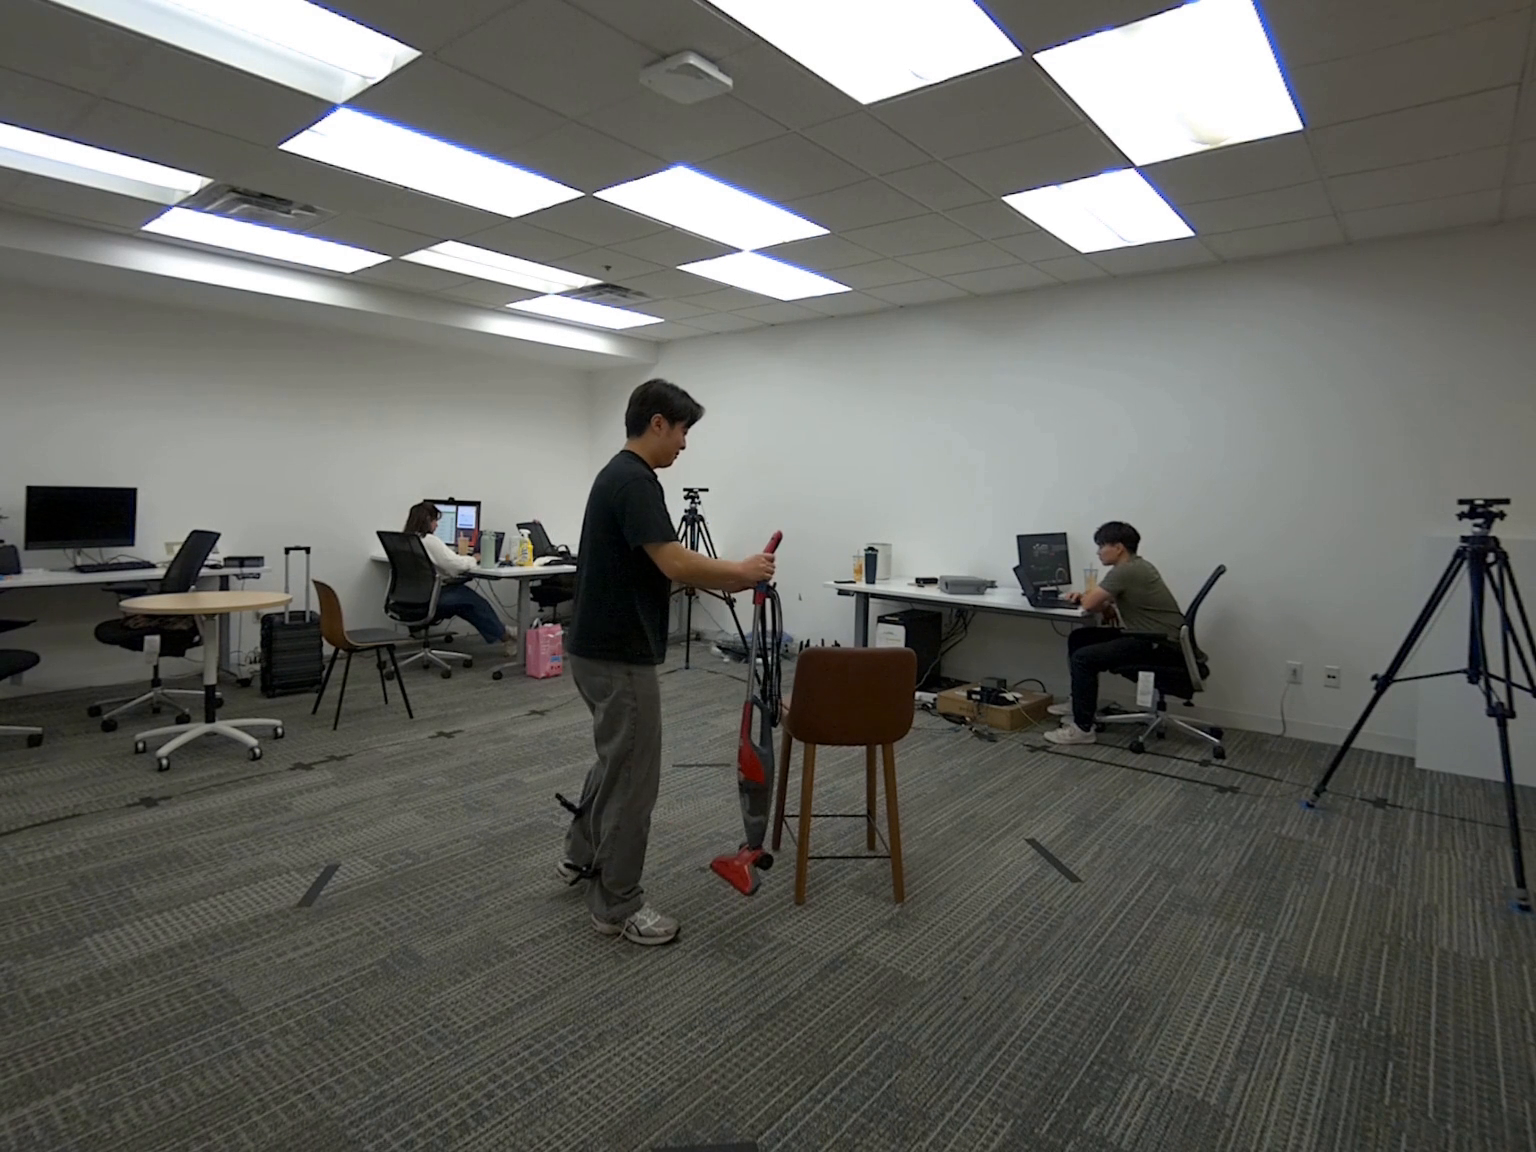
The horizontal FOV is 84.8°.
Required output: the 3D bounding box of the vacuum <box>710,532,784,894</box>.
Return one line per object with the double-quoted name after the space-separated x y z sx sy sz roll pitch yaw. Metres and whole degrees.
-0.035 0.399 2.679 0.140 1.053 0.259 7 -4 -28 "vacuum"
